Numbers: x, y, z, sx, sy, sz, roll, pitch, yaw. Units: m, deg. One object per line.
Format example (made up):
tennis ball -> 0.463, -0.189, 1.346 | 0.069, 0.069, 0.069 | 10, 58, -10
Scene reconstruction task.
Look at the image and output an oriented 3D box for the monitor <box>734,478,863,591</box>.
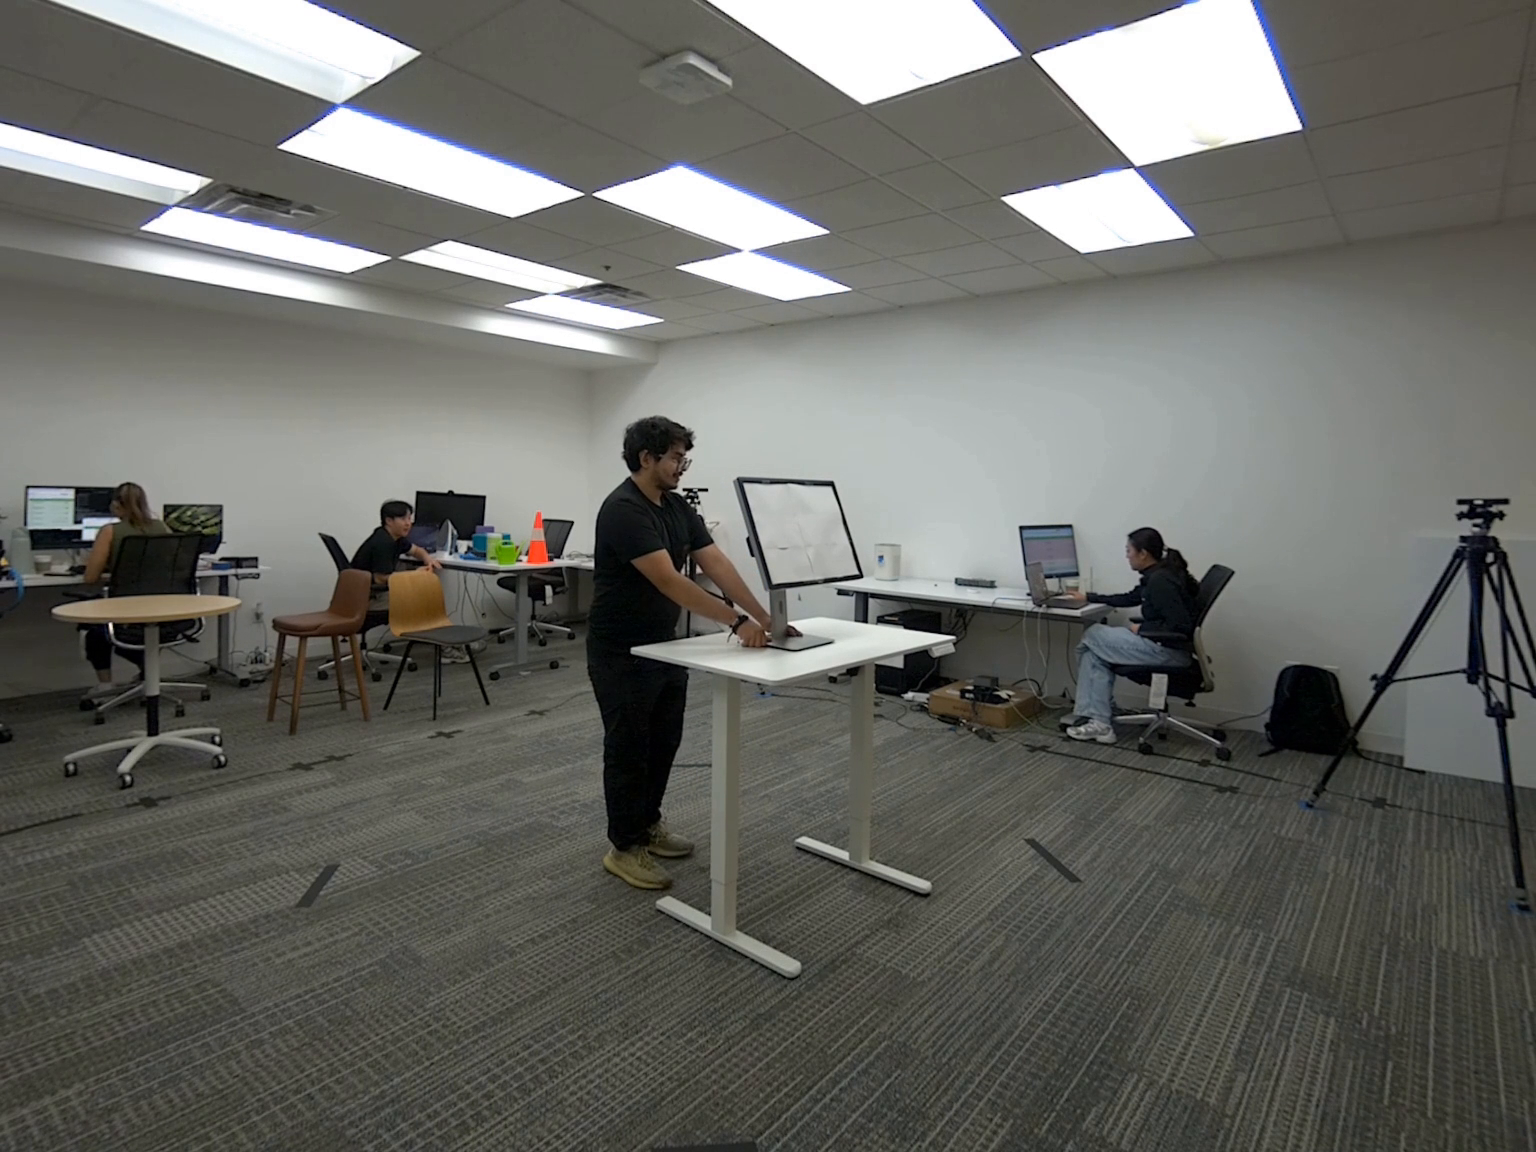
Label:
monitor -> 0.054, -0.049, 2.827 | 0.215, 0.556, 0.549 | -11, -4, 37
